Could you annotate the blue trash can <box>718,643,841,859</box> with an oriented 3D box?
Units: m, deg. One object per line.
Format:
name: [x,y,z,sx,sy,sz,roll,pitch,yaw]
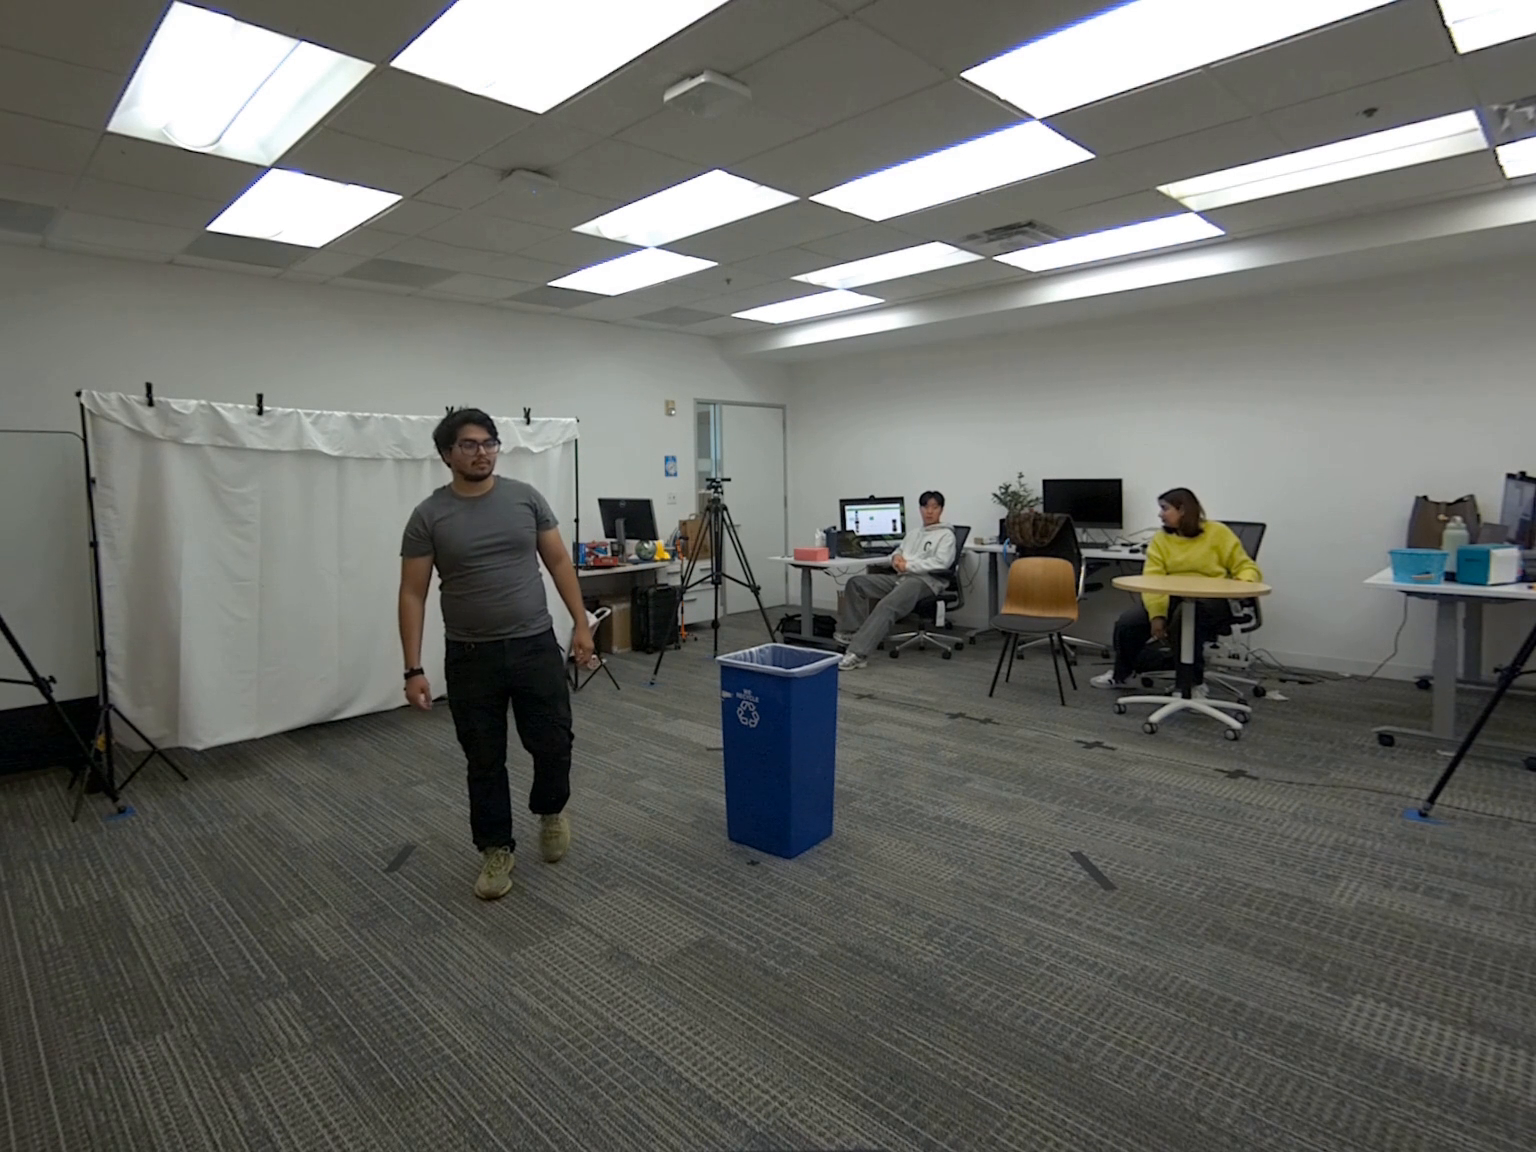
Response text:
blue trash can: [0.056,0.659,3.303,0.385,0.711,0.368,2,5,38]
